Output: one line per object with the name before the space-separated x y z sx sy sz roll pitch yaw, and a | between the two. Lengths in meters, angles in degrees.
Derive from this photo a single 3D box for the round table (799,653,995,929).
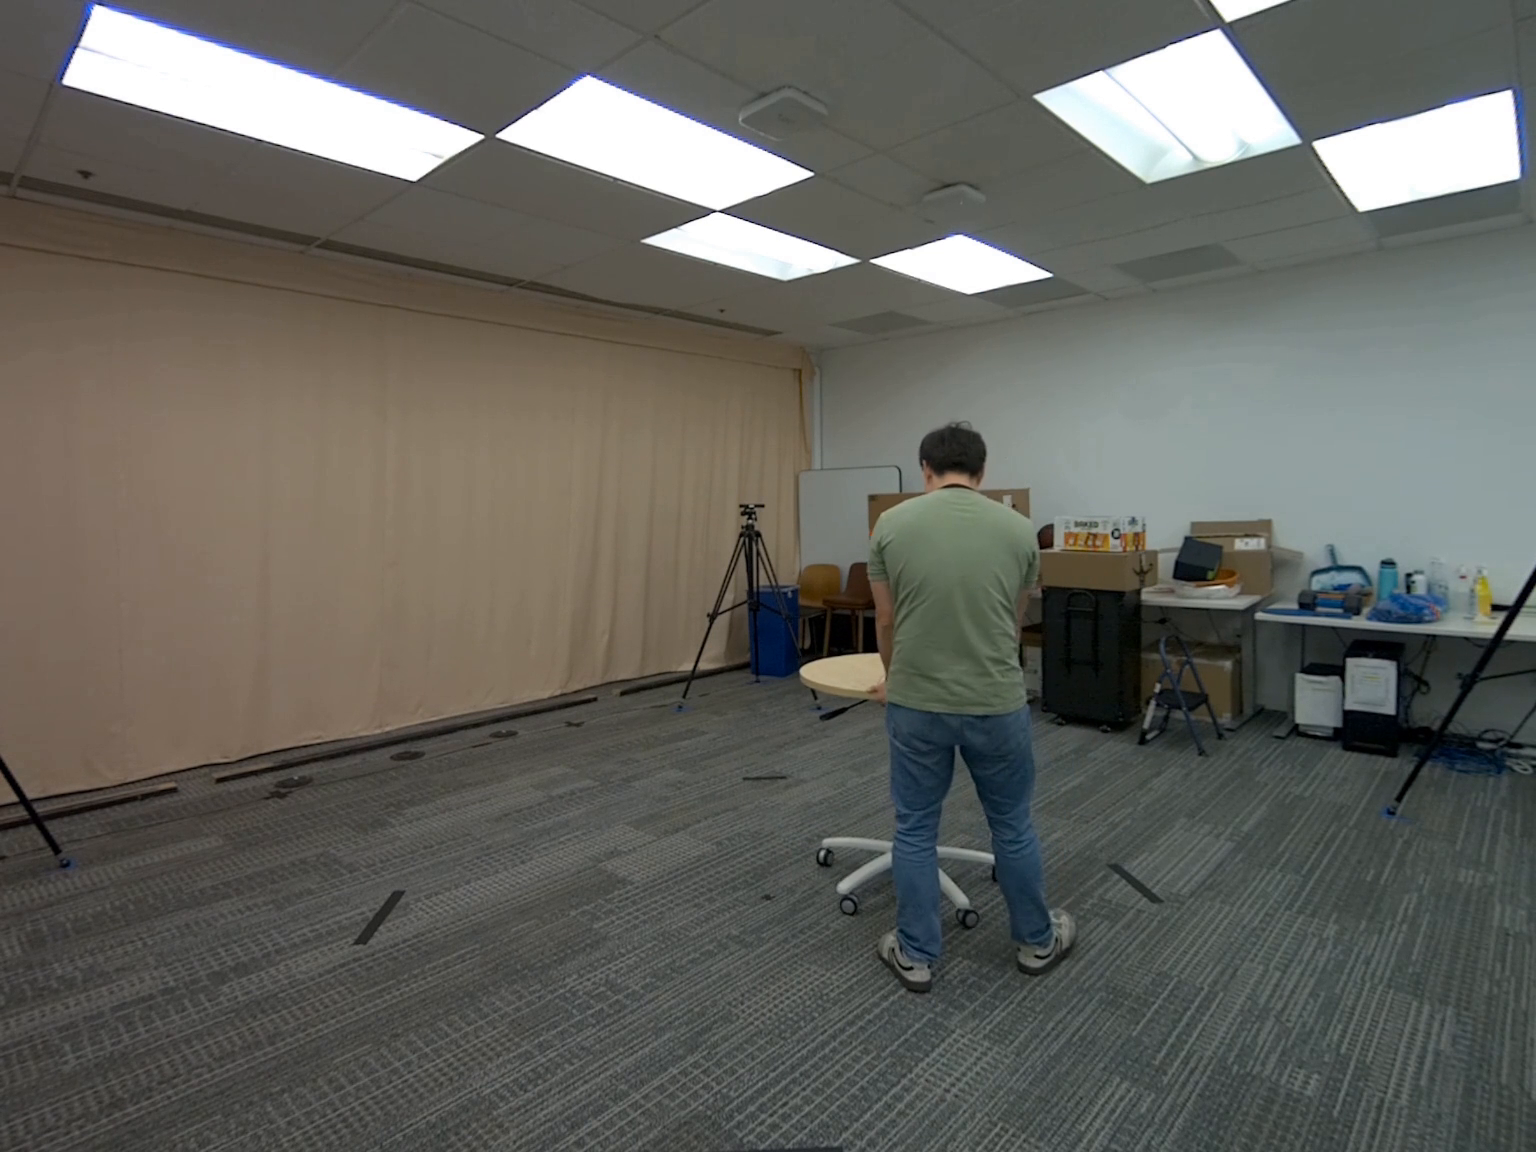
round table | 0.515 0.734 3.051 0.763 0.792 0.766 -1 4 -2
